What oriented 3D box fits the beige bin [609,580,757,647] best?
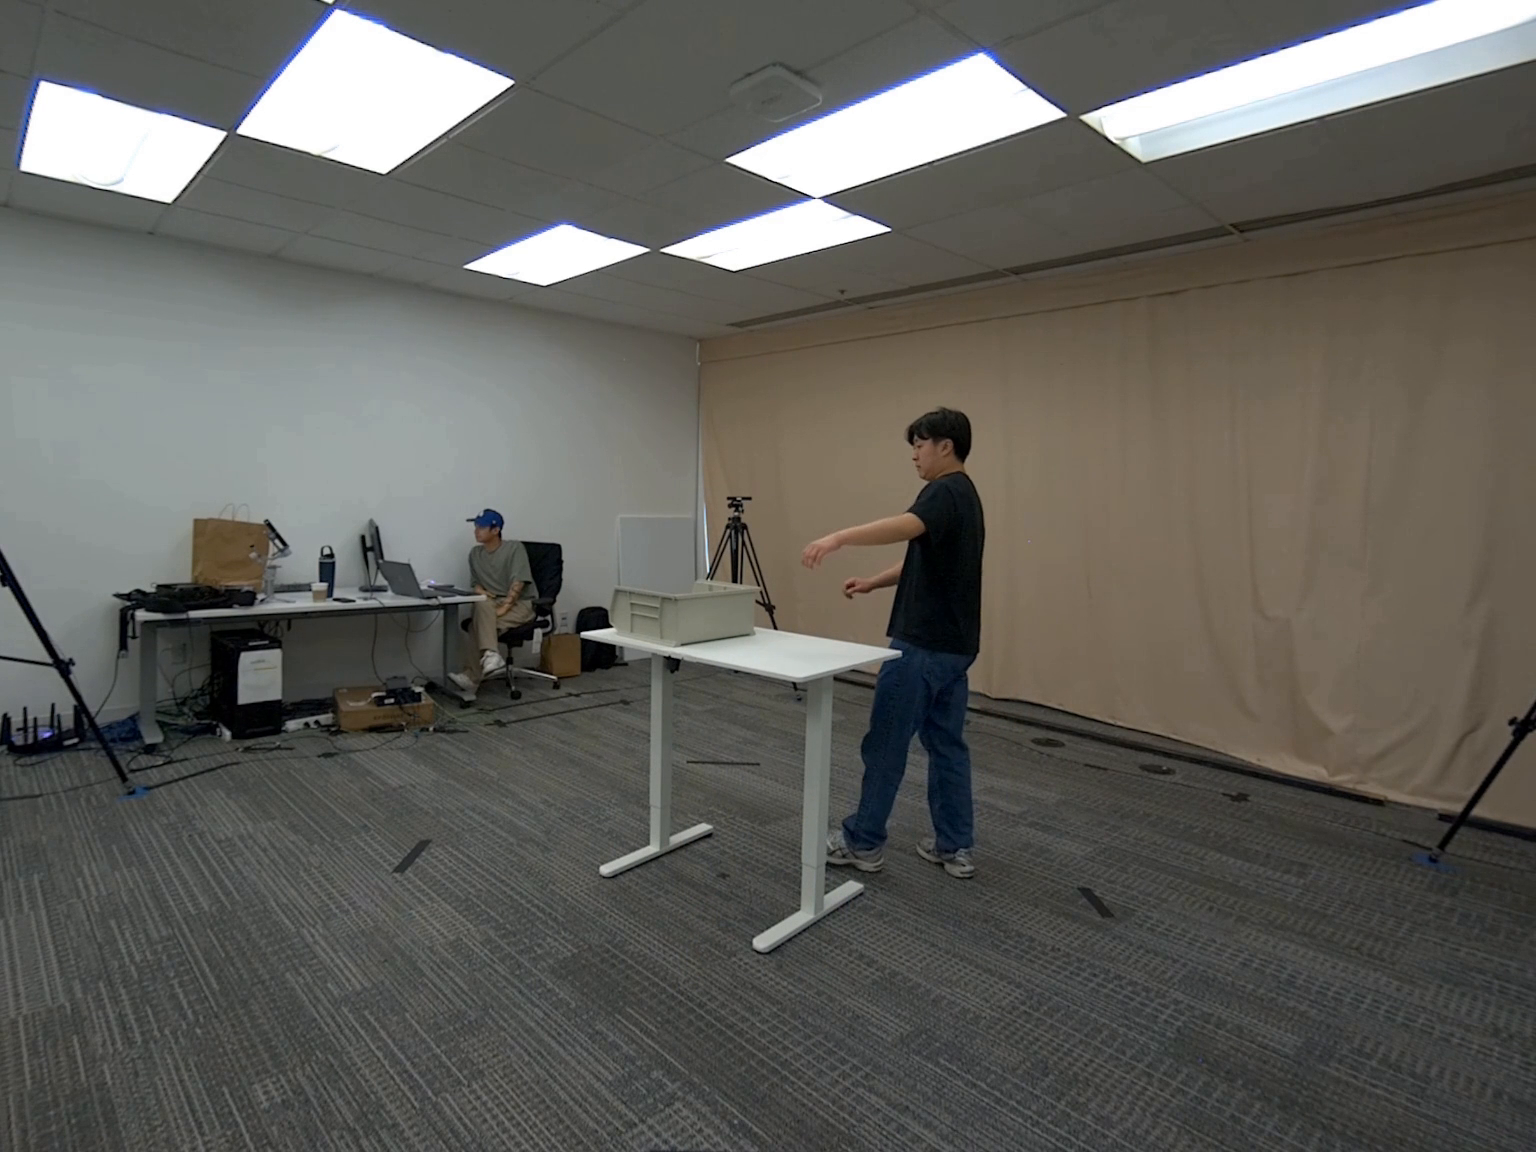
[{"bbox_3d":[-0.314,0.131,3.108,0.387,0.188,0.413,9,9,44],"label":"beige bin"}]
